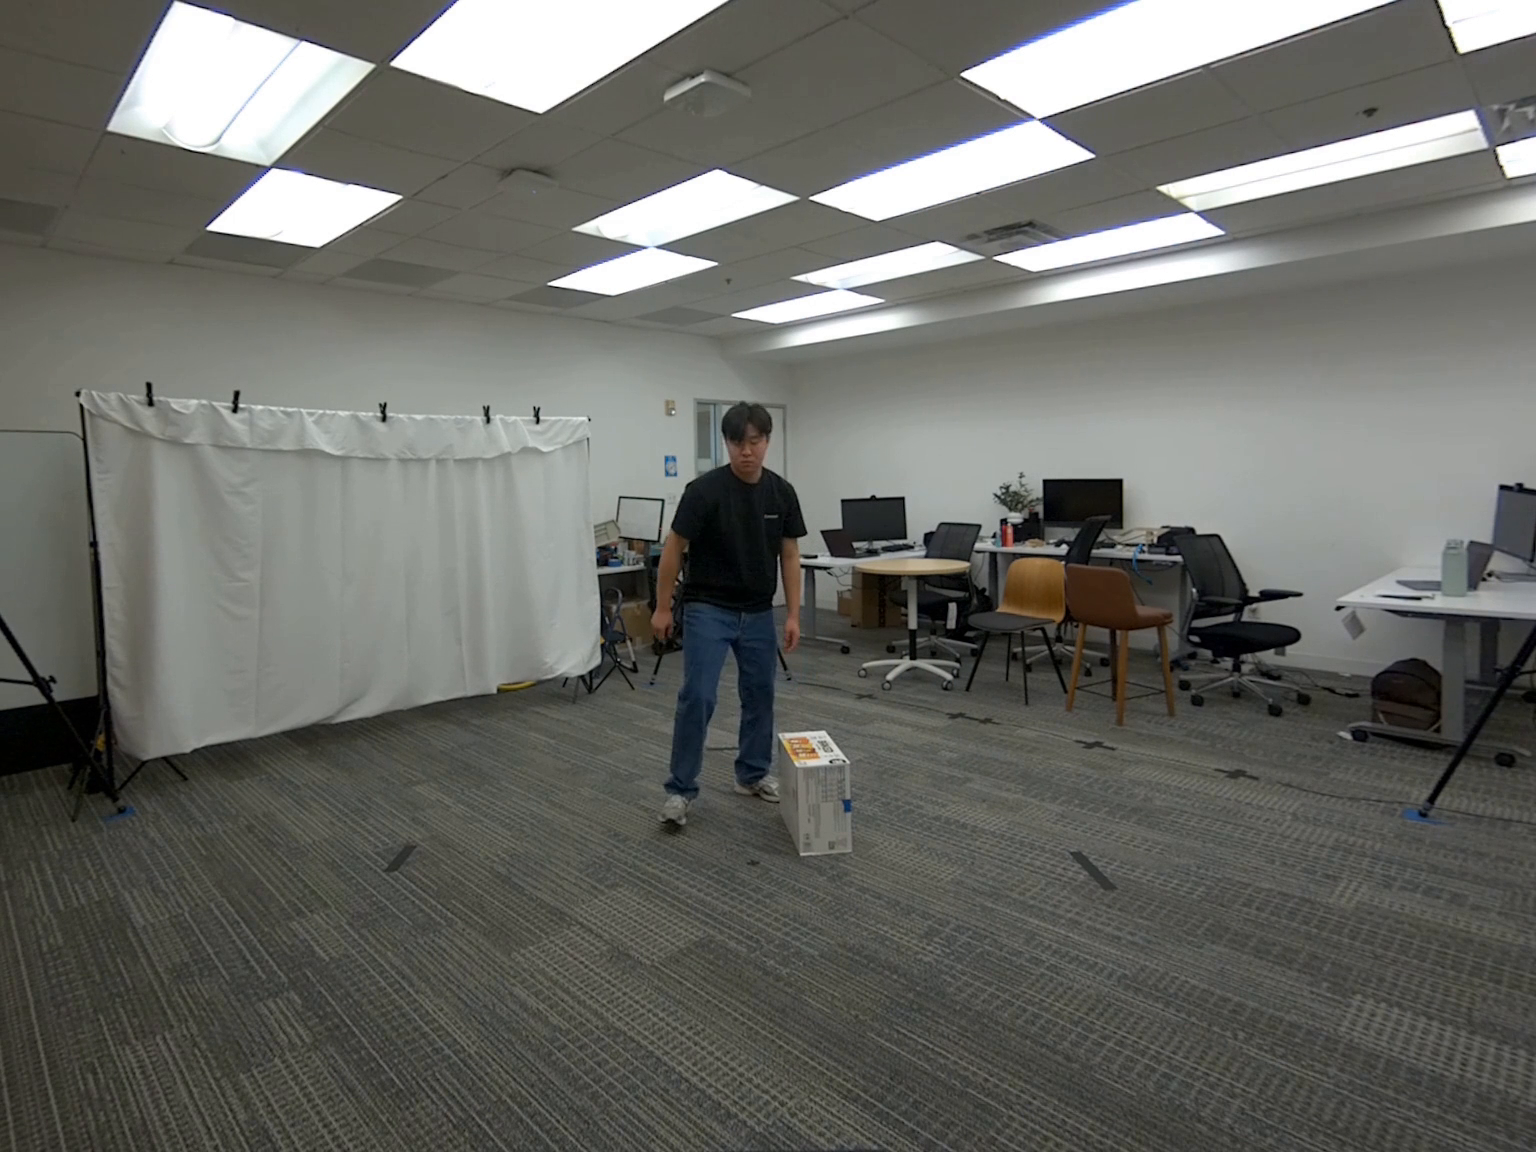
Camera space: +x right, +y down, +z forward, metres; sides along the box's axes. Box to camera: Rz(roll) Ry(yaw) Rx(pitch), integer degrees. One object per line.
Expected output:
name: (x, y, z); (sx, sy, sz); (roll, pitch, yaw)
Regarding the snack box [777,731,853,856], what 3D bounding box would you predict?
snack box: (0.188, 0.842, 3.354); (0.204, 0.339, 0.409); (-3, 5, -8)
